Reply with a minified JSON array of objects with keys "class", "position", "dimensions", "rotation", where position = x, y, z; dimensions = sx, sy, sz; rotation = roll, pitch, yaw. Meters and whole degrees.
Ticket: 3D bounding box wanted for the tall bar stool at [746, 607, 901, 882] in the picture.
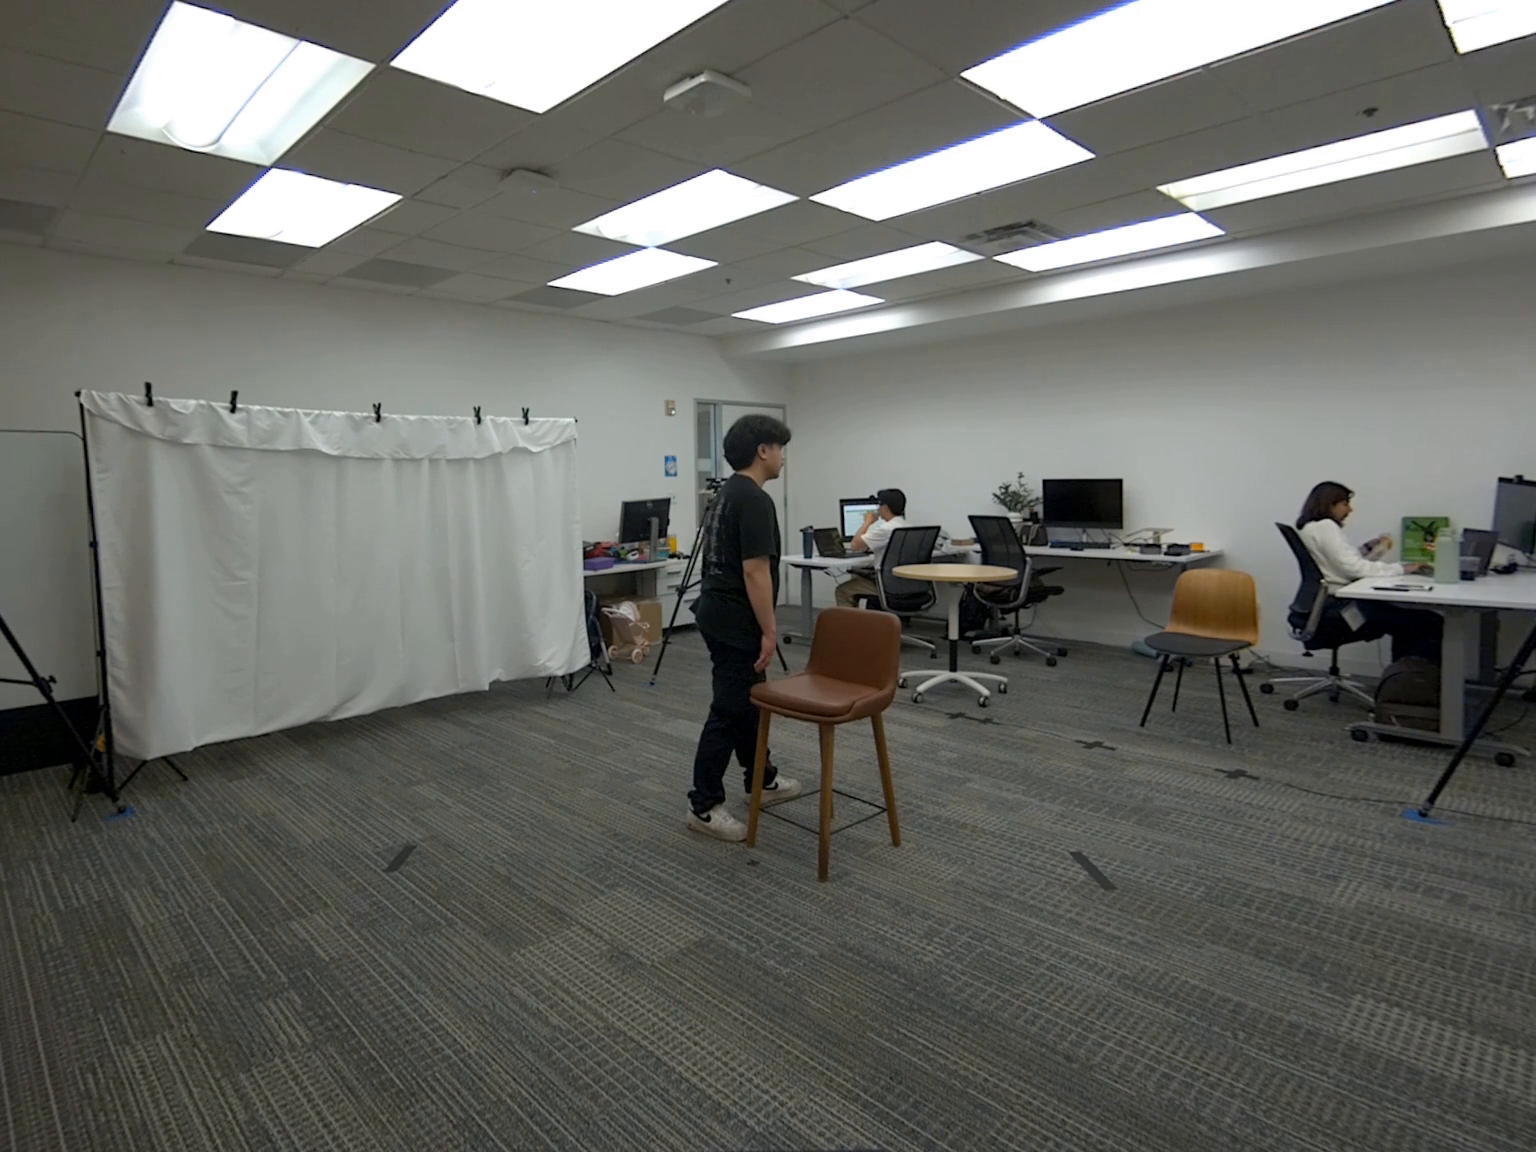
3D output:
[{"class":"tall bar stool","position":[0.220,0.588,3.212],"dimensions":[0.454,0.888,0.470],"rotation":[-1,3,-41]}]
